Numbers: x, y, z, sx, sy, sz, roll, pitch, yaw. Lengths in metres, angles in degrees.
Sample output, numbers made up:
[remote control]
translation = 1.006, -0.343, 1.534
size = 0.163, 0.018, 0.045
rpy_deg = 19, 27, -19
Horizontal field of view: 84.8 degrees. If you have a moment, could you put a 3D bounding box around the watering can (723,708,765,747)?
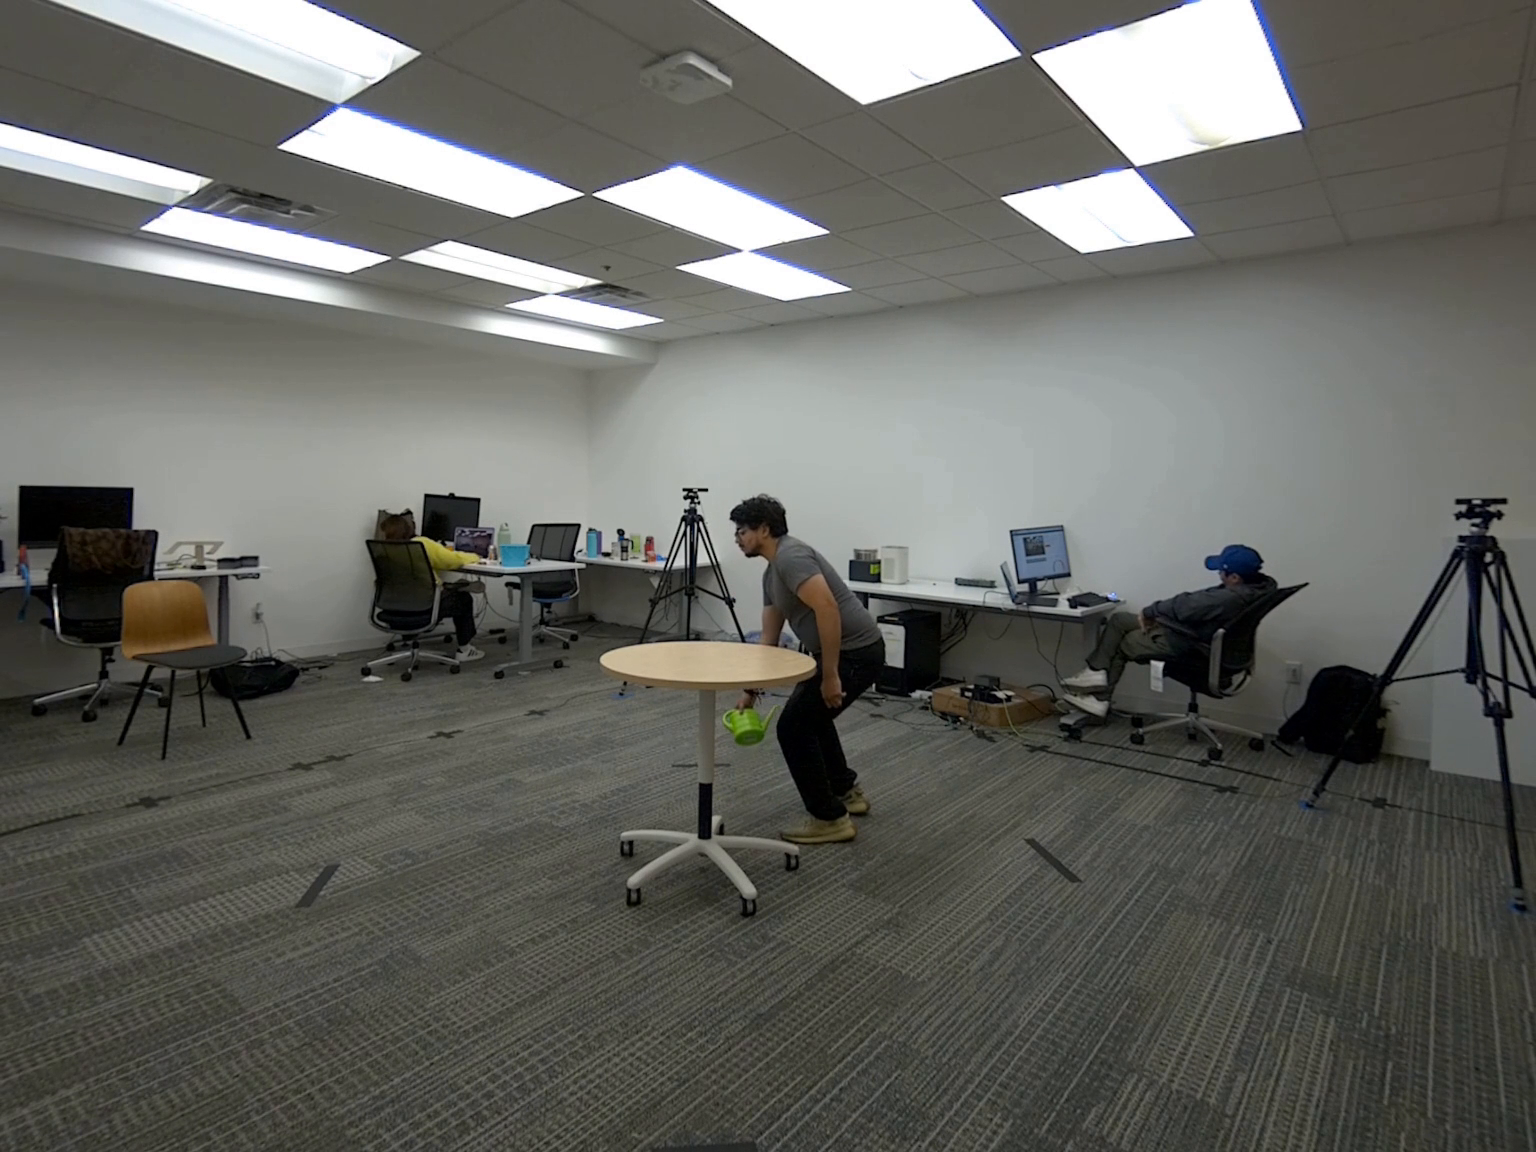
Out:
[watering can]
translation = -0.065, 0.635, 3.720
size = 0.278, 0.095, 0.183
rpy_deg = -15, 37, -2
